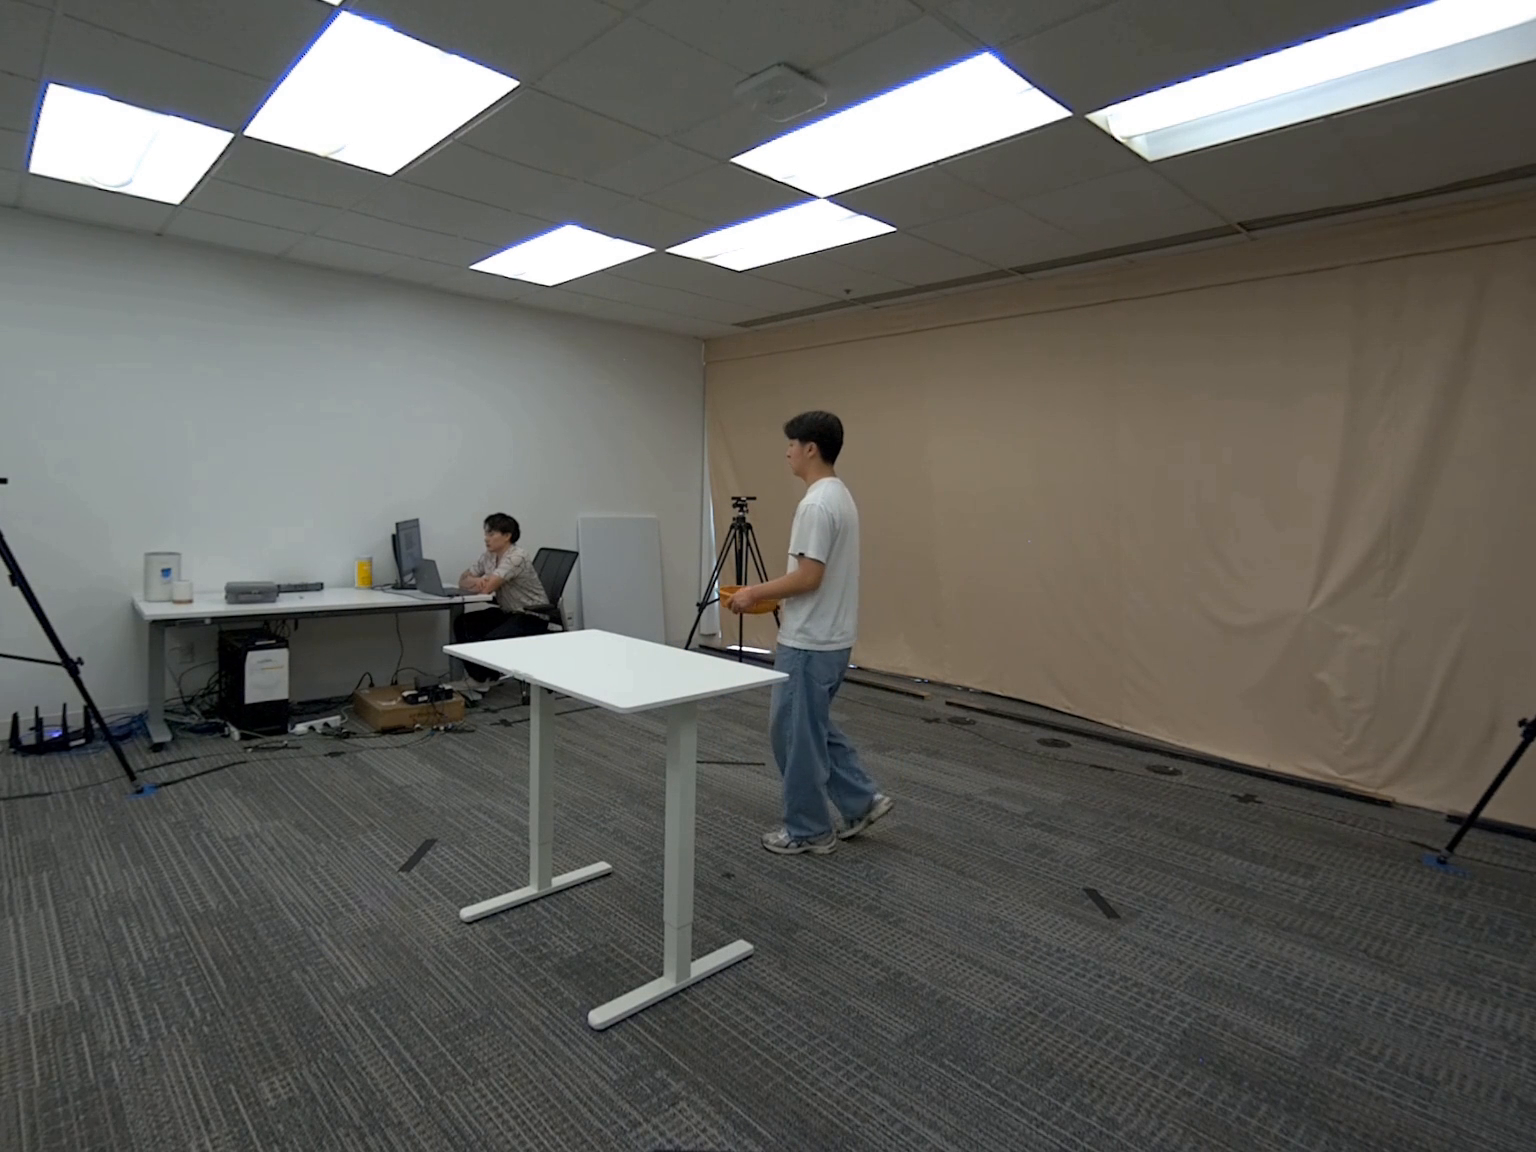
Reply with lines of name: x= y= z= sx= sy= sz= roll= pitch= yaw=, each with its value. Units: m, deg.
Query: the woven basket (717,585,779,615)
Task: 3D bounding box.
woven basket: x=-0.083 y=0.101 z=3.435 sx=0.250 sy=0.073 sz=0.354 roll=4 pitch=6 yaw=-9
